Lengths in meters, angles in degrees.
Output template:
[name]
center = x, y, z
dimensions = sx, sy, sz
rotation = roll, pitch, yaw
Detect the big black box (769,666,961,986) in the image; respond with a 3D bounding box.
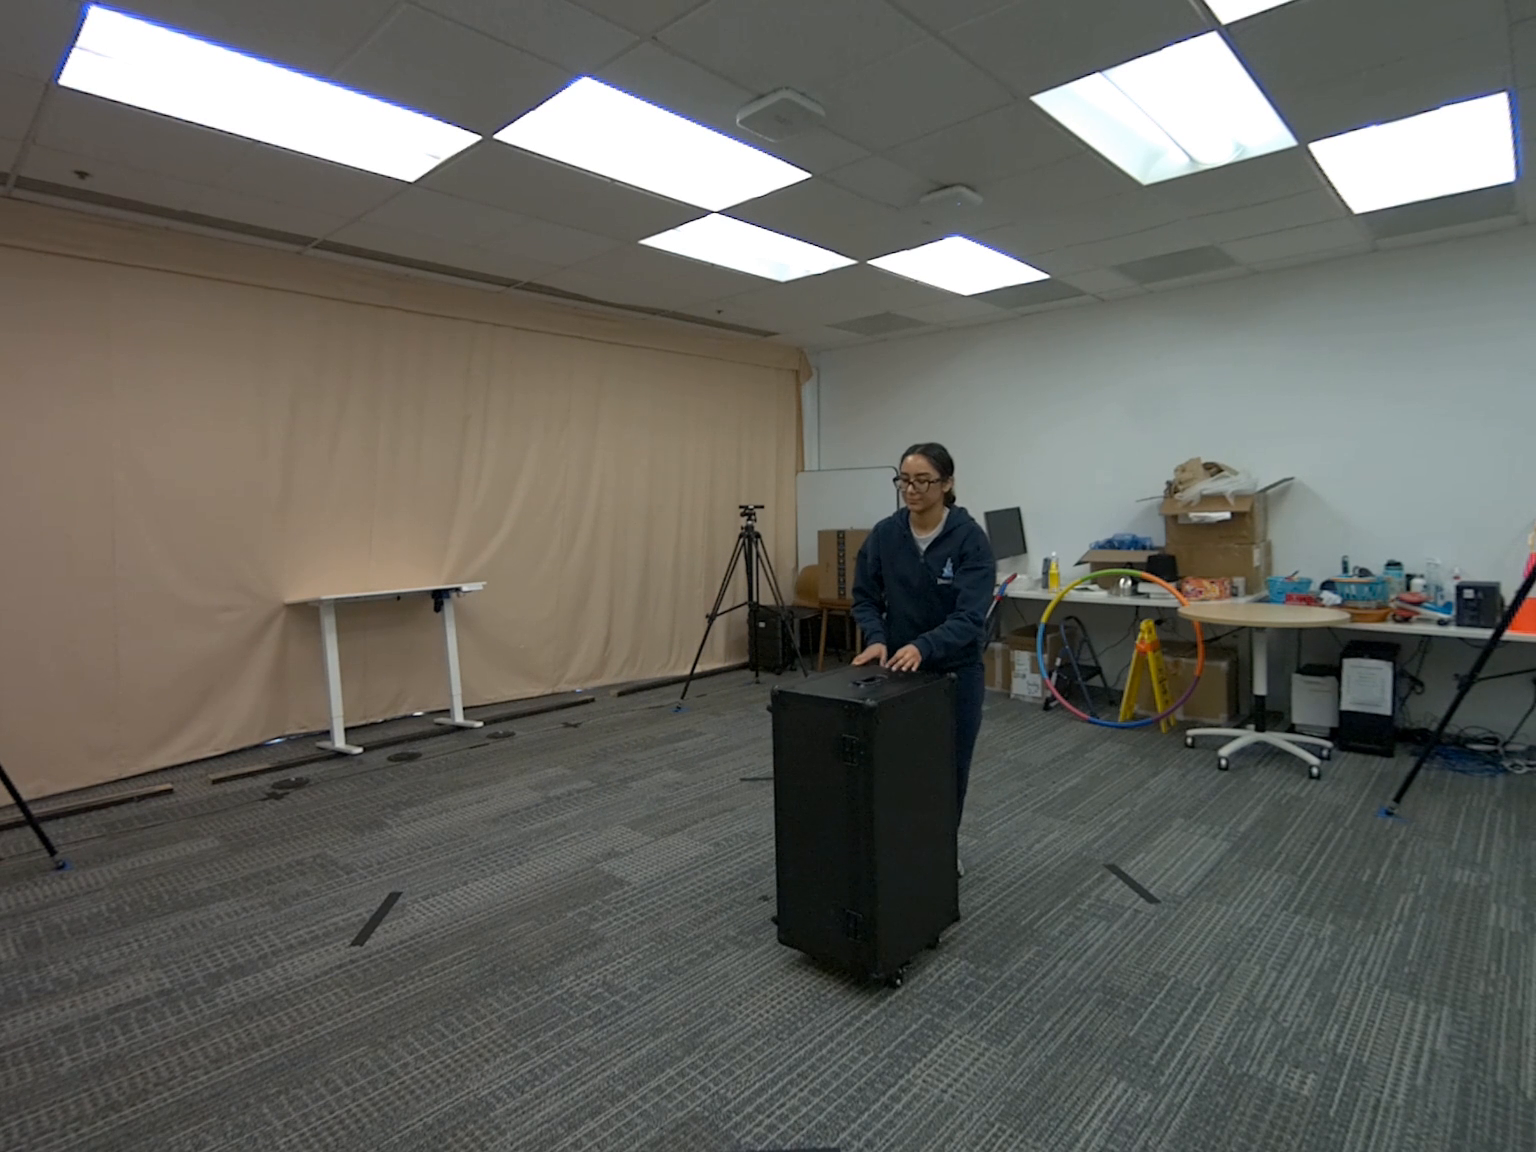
[big black box]
center = 0.300, 0.745, 2.587
dimensions = 0.409, 0.860, 0.505
rotation = 0, 3, 41
